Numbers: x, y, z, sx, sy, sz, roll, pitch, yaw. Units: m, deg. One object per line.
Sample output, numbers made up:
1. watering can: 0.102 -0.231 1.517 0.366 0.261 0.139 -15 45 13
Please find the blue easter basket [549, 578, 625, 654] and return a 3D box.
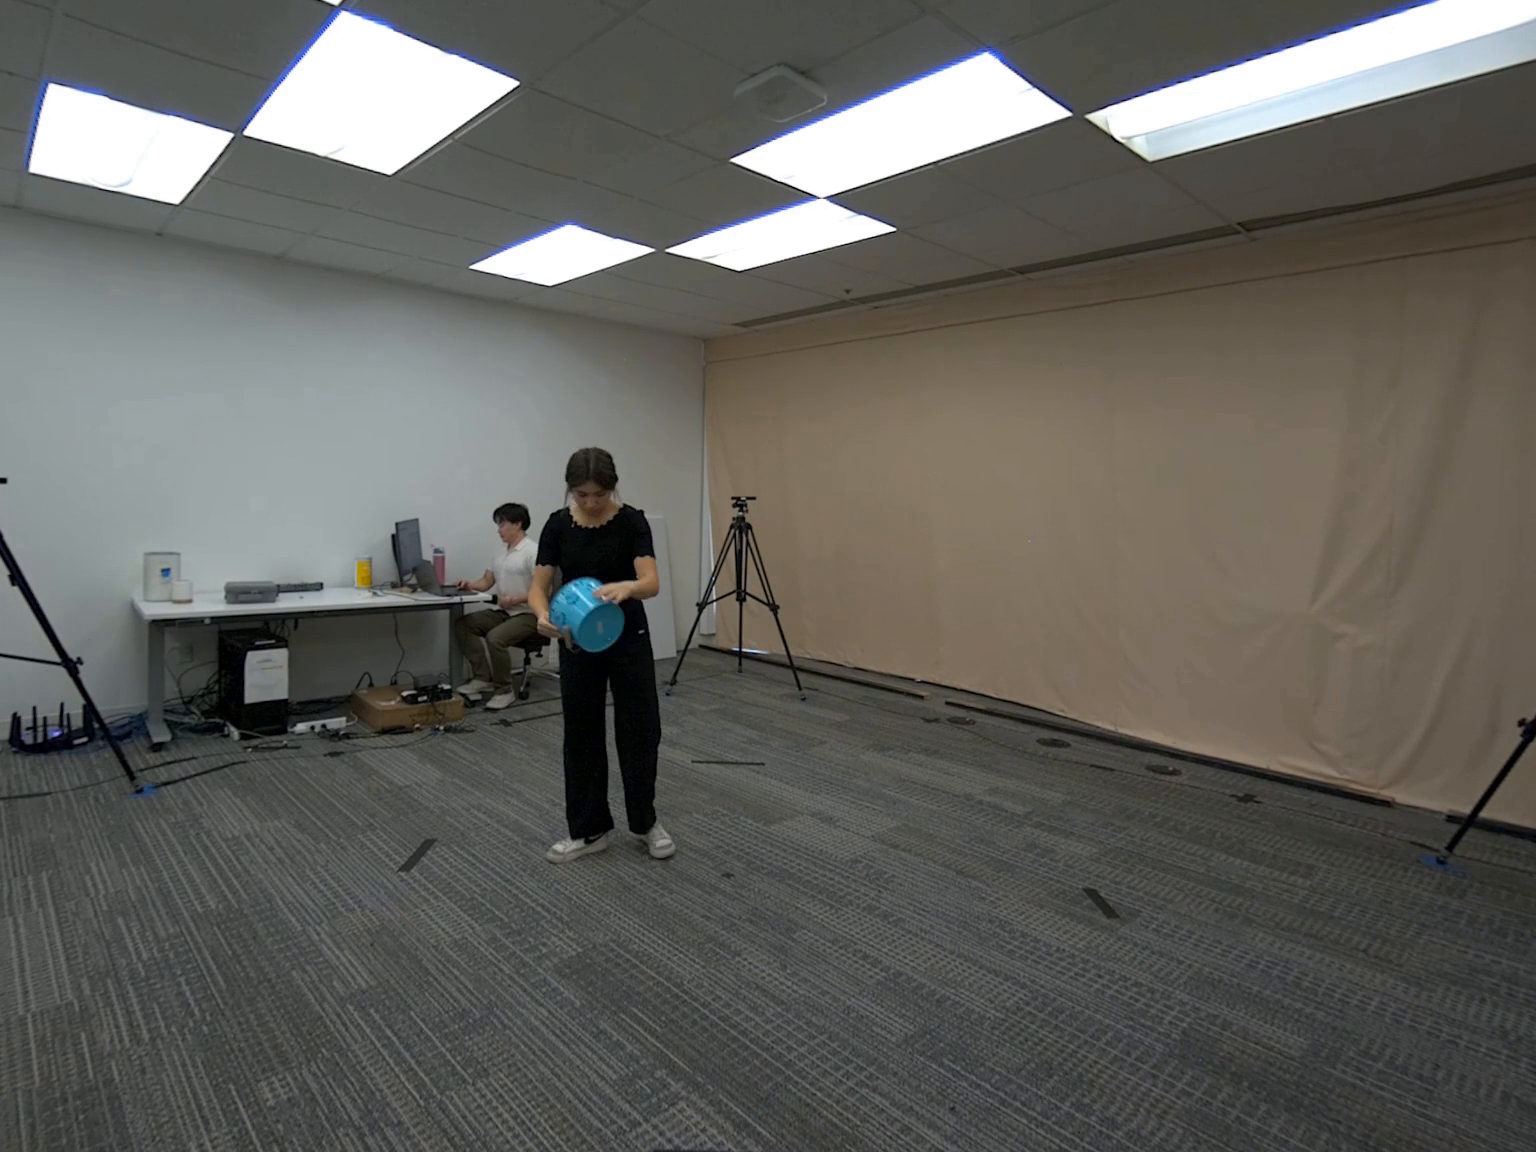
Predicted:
1. blue easter basket: -0.623 0.143 2.879 0.238 0.241 0.161 -2 23 -41
